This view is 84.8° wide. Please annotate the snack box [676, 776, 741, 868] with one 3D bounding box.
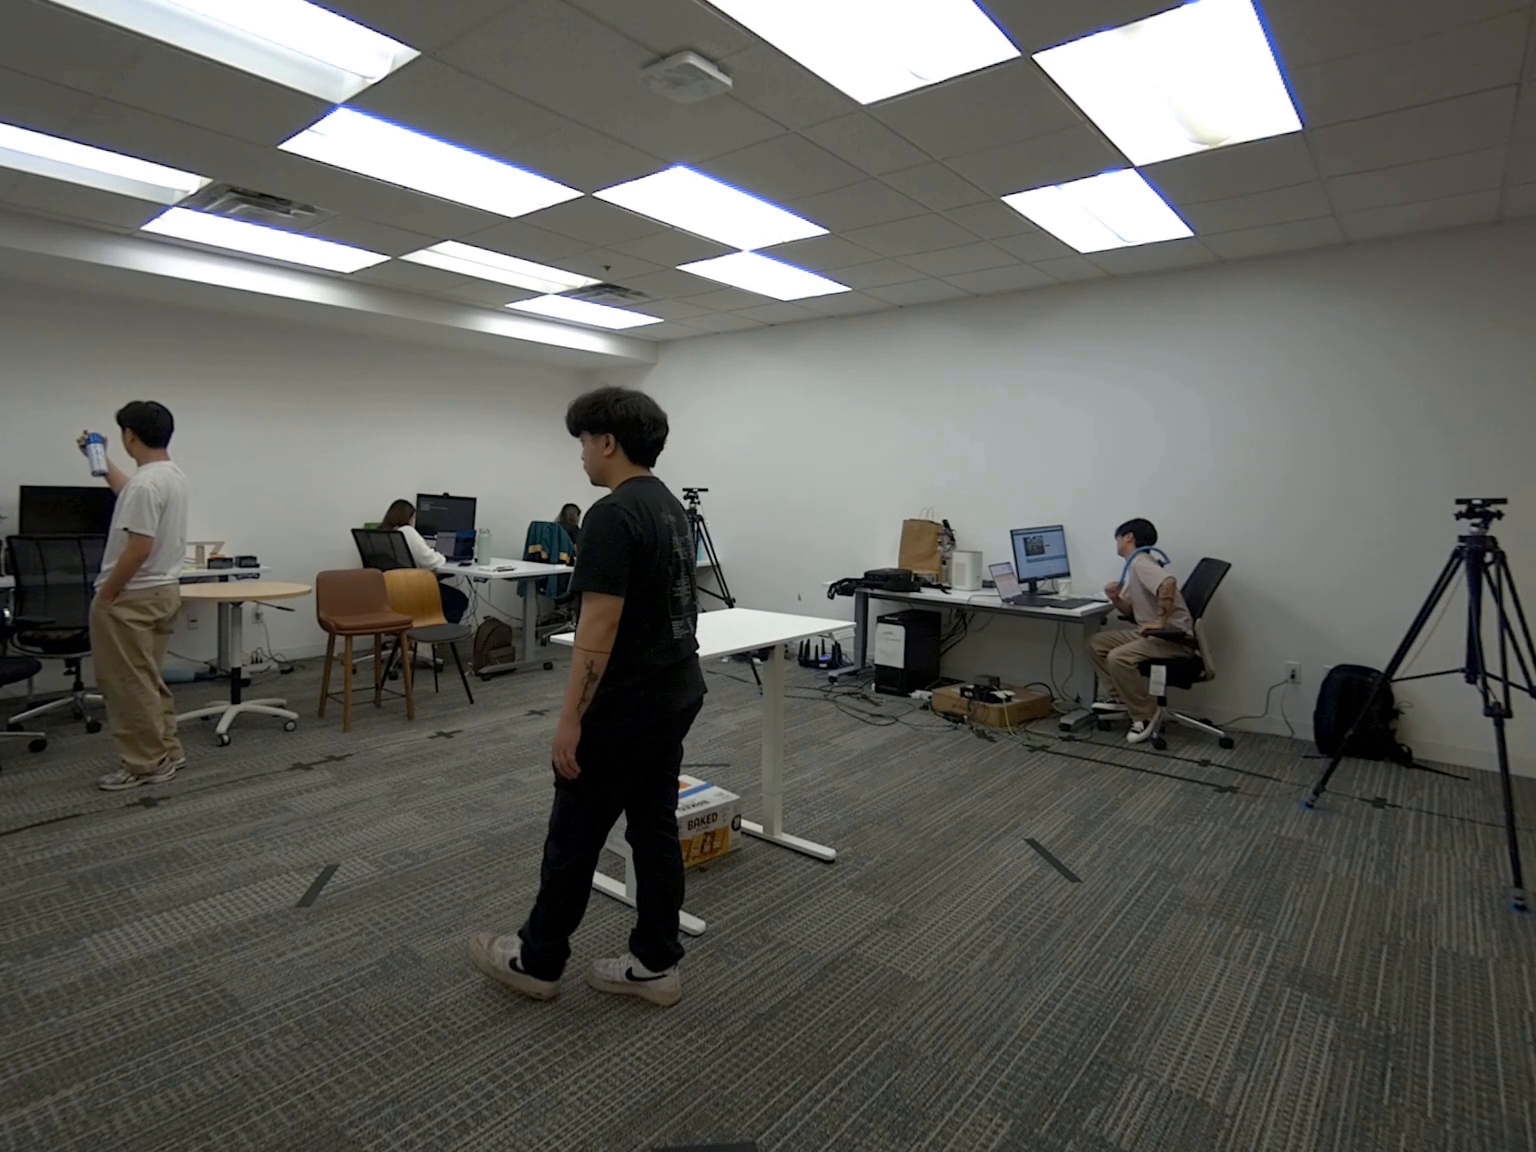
[{"bbox_3d":[-0.370,0.951,3.280,0.393,0.205,0.352,-4,7,-44],"label":"snack box"}]
